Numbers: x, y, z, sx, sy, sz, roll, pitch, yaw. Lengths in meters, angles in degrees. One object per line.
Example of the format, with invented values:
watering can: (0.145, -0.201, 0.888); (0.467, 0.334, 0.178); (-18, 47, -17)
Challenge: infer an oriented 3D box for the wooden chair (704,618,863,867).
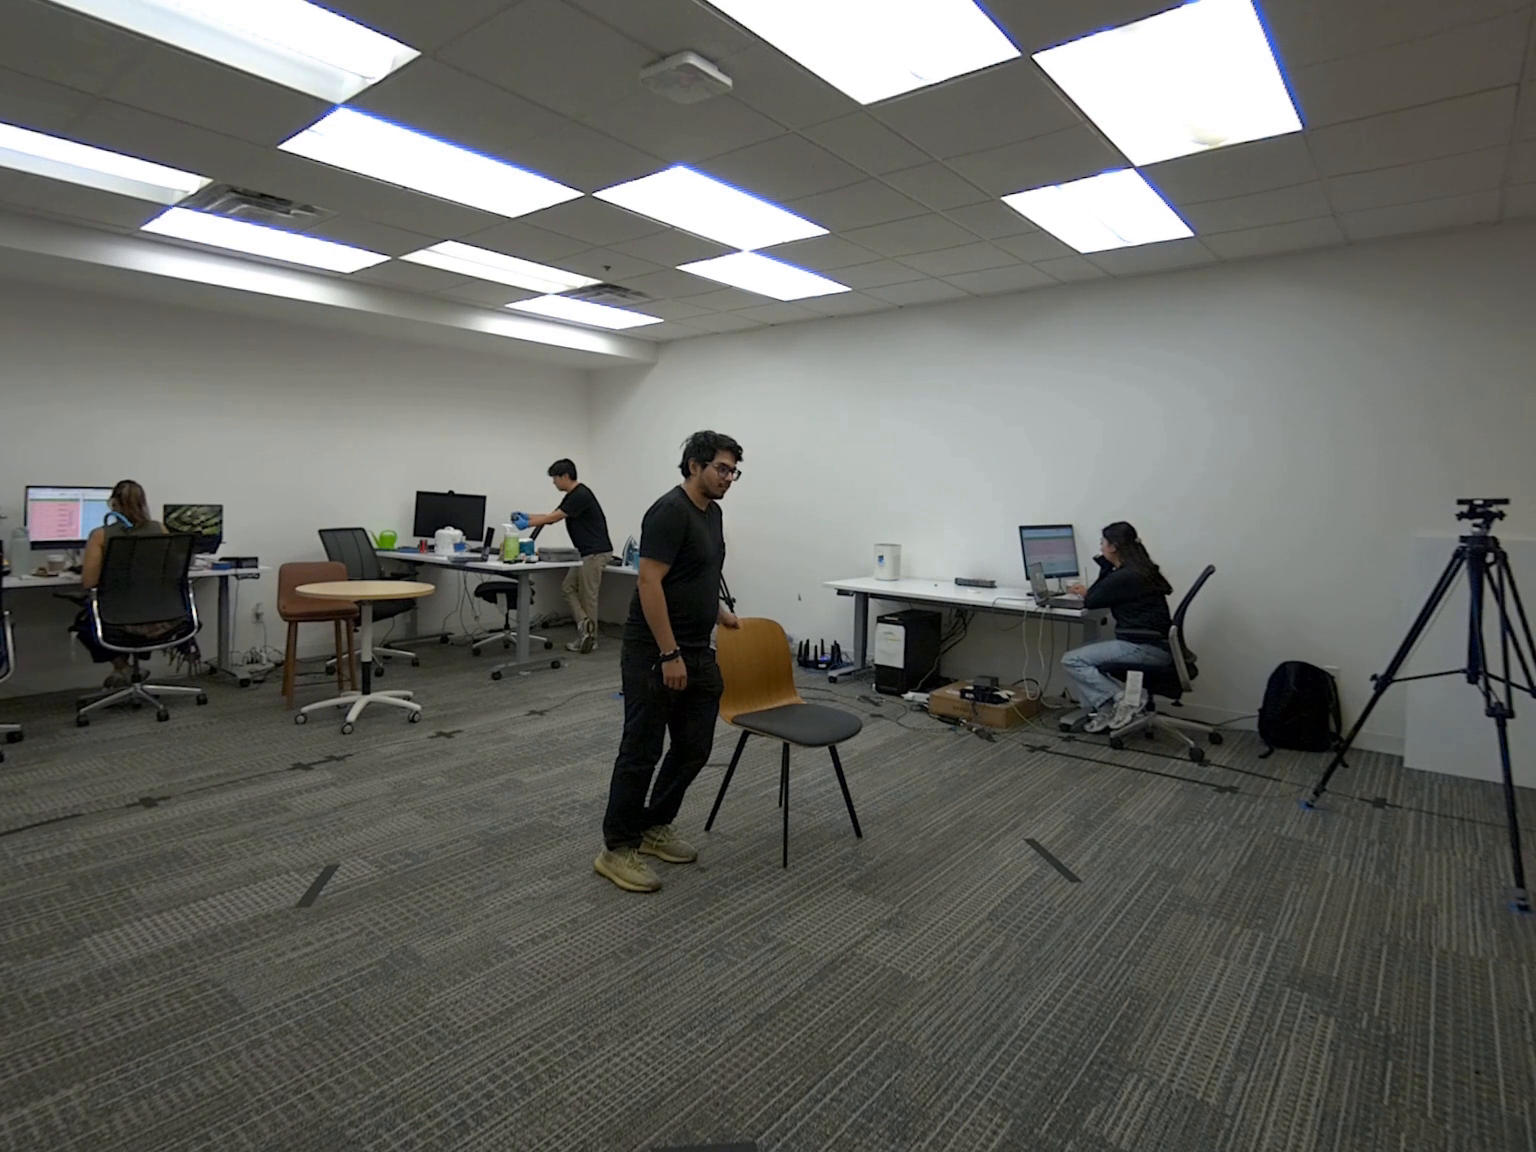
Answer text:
wooden chair: (0.072, 0.620, 3.418); (0.463, 0.877, 0.539); (-2, 1, -44)
